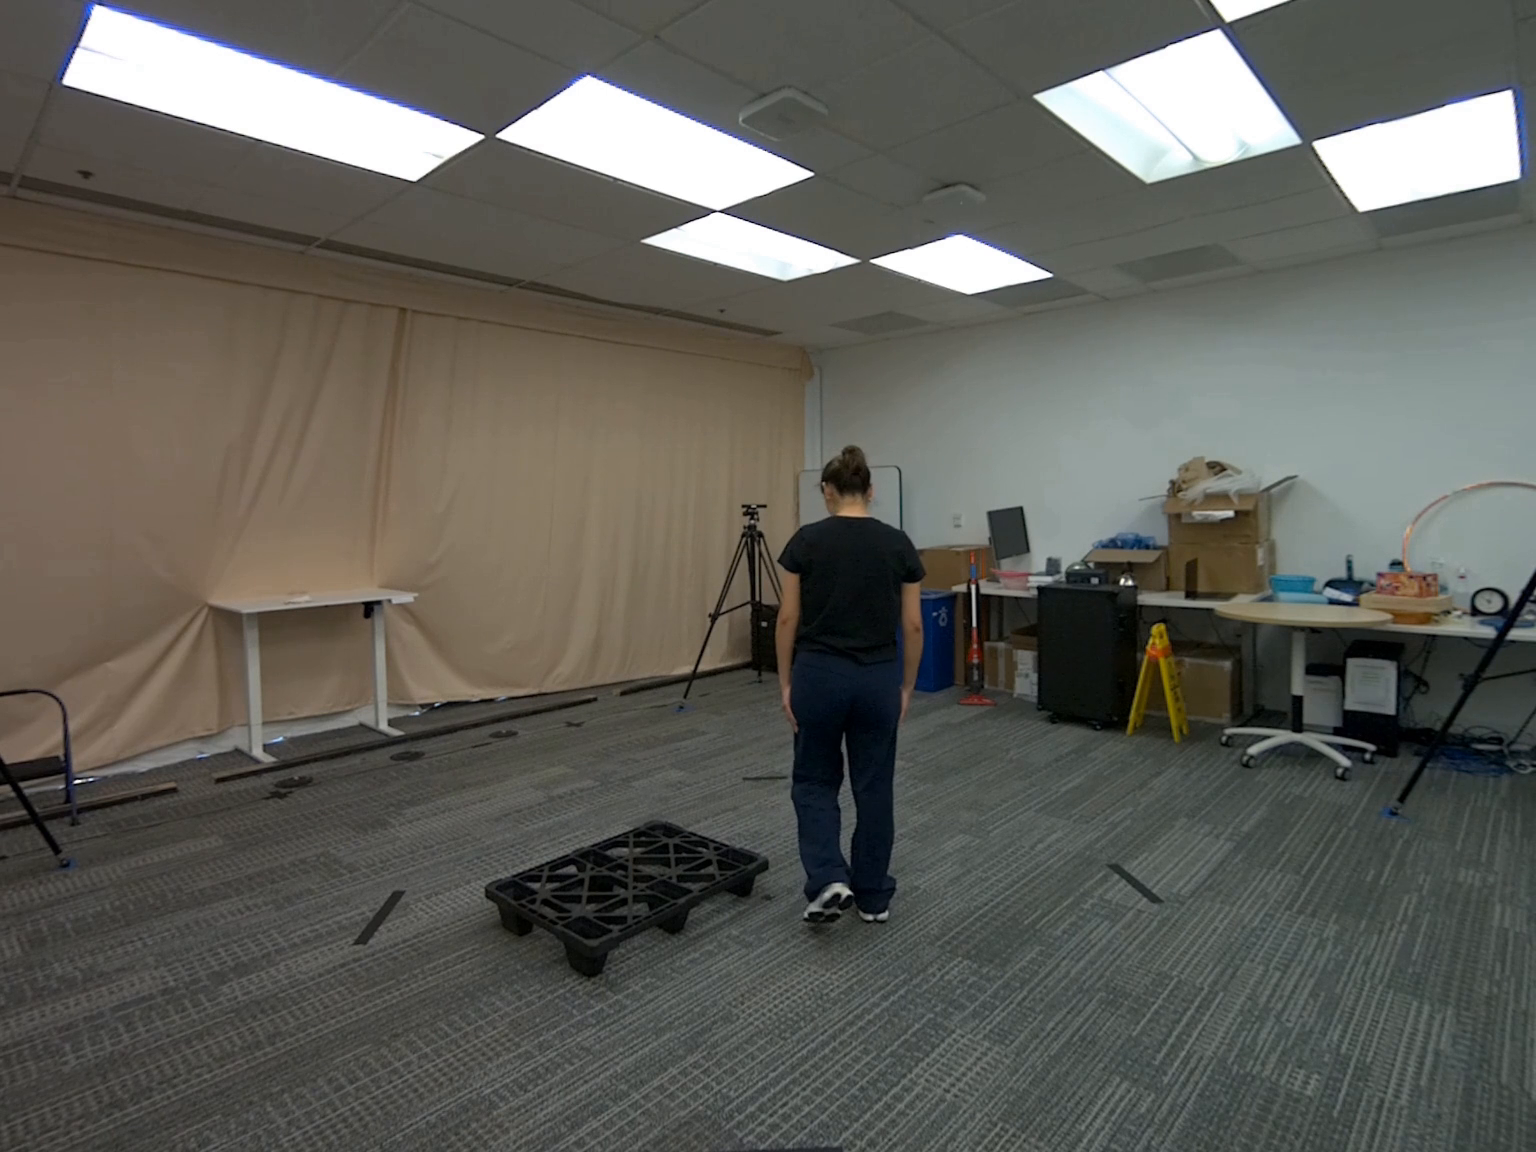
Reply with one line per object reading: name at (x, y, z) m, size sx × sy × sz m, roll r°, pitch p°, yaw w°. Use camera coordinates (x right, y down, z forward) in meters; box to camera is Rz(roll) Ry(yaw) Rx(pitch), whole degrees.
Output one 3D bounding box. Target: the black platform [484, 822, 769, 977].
black platform at (-0.452, 1.089, 2.913) m, size 0.625 × 0.143 × 0.782 m, roll 4°, pitch 7°, yaw 42°
